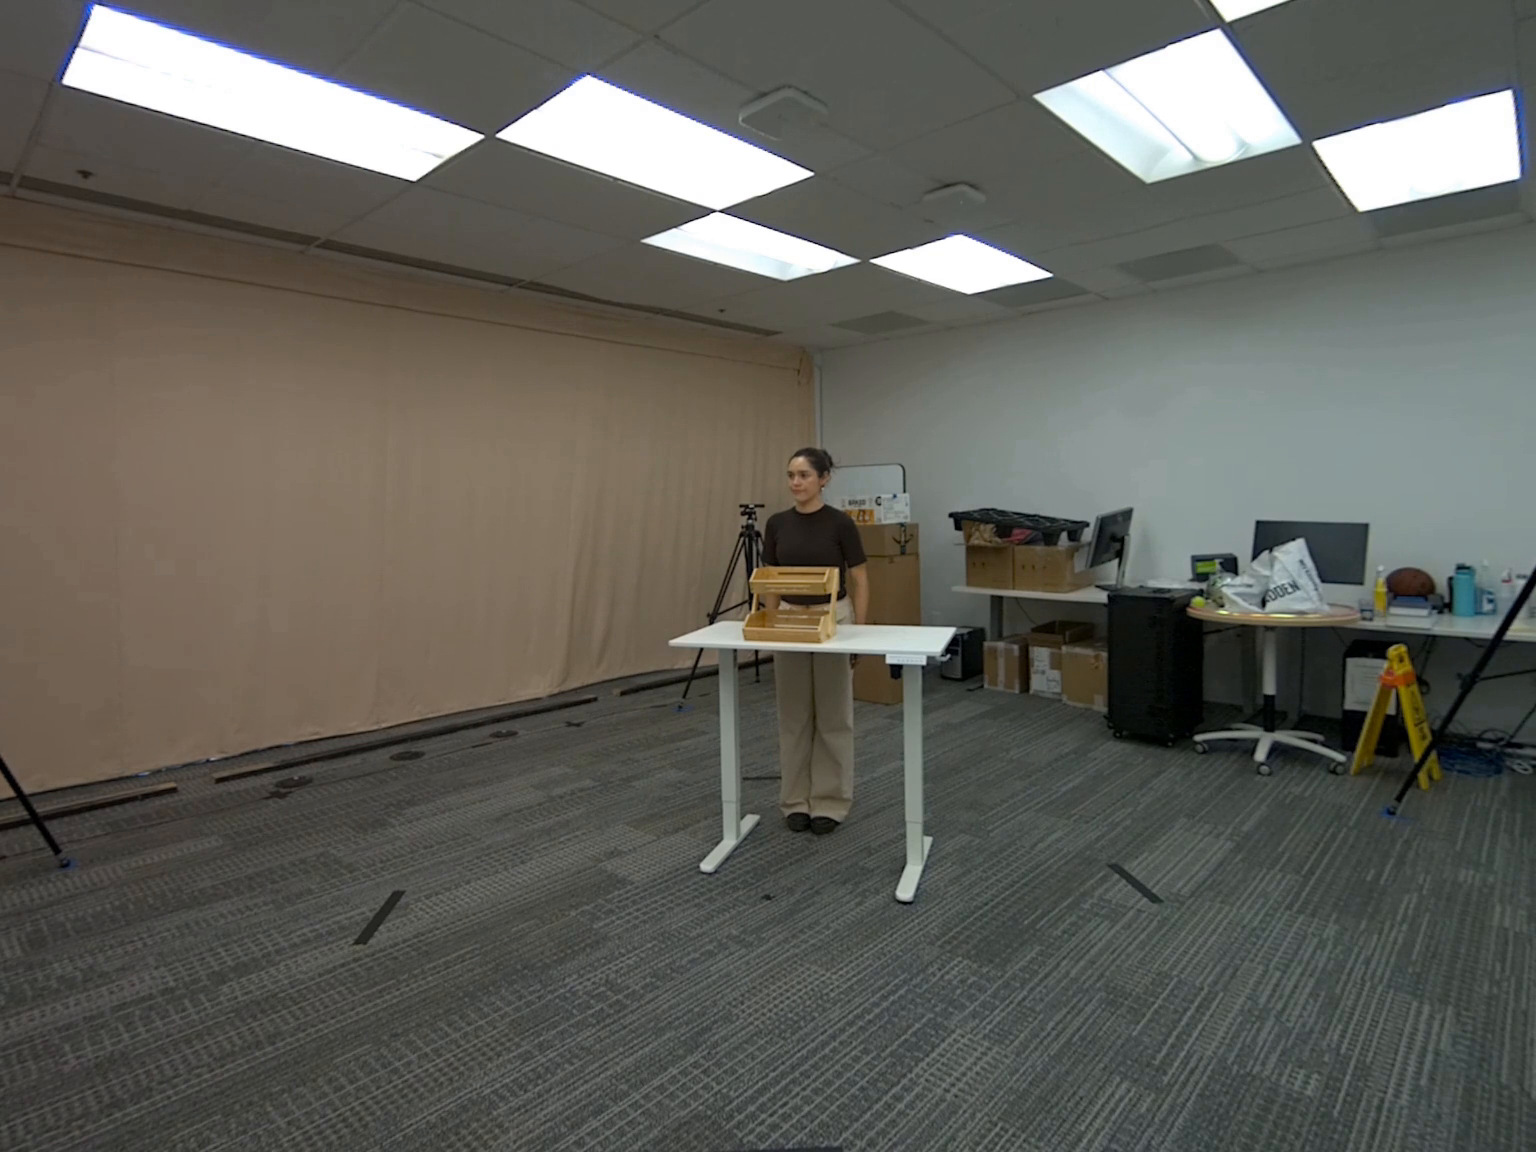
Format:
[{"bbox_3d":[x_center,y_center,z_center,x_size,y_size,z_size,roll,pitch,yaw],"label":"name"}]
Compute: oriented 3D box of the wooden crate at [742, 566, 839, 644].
[{"bbox_3d":[0.098,0.102,3.235,0.331,0.273,0.296,1,3,20],"label":"wooden crate"}]
